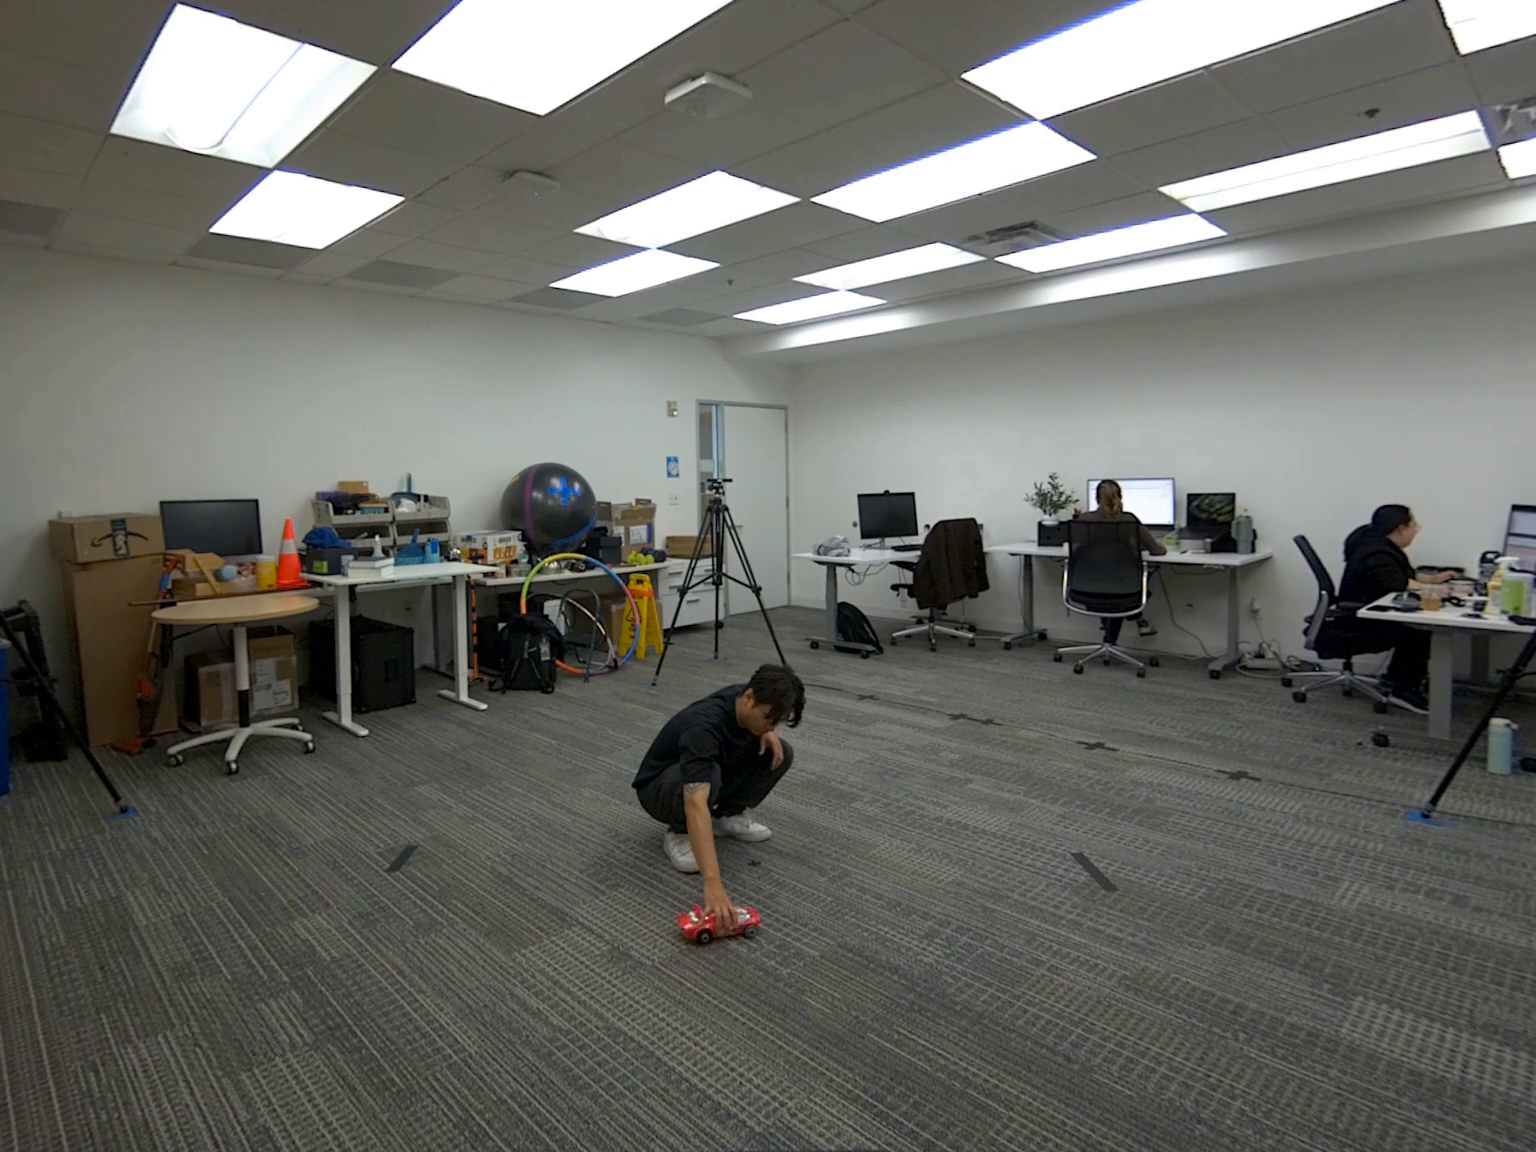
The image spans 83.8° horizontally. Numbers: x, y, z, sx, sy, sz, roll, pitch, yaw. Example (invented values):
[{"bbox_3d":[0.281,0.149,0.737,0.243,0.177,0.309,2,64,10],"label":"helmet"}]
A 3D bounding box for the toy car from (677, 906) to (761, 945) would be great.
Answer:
[{"bbox_3d":[-0.163,1.075,2.642,0.250,0.083,0.133,9,1,-17],"label":"toy car"}]
